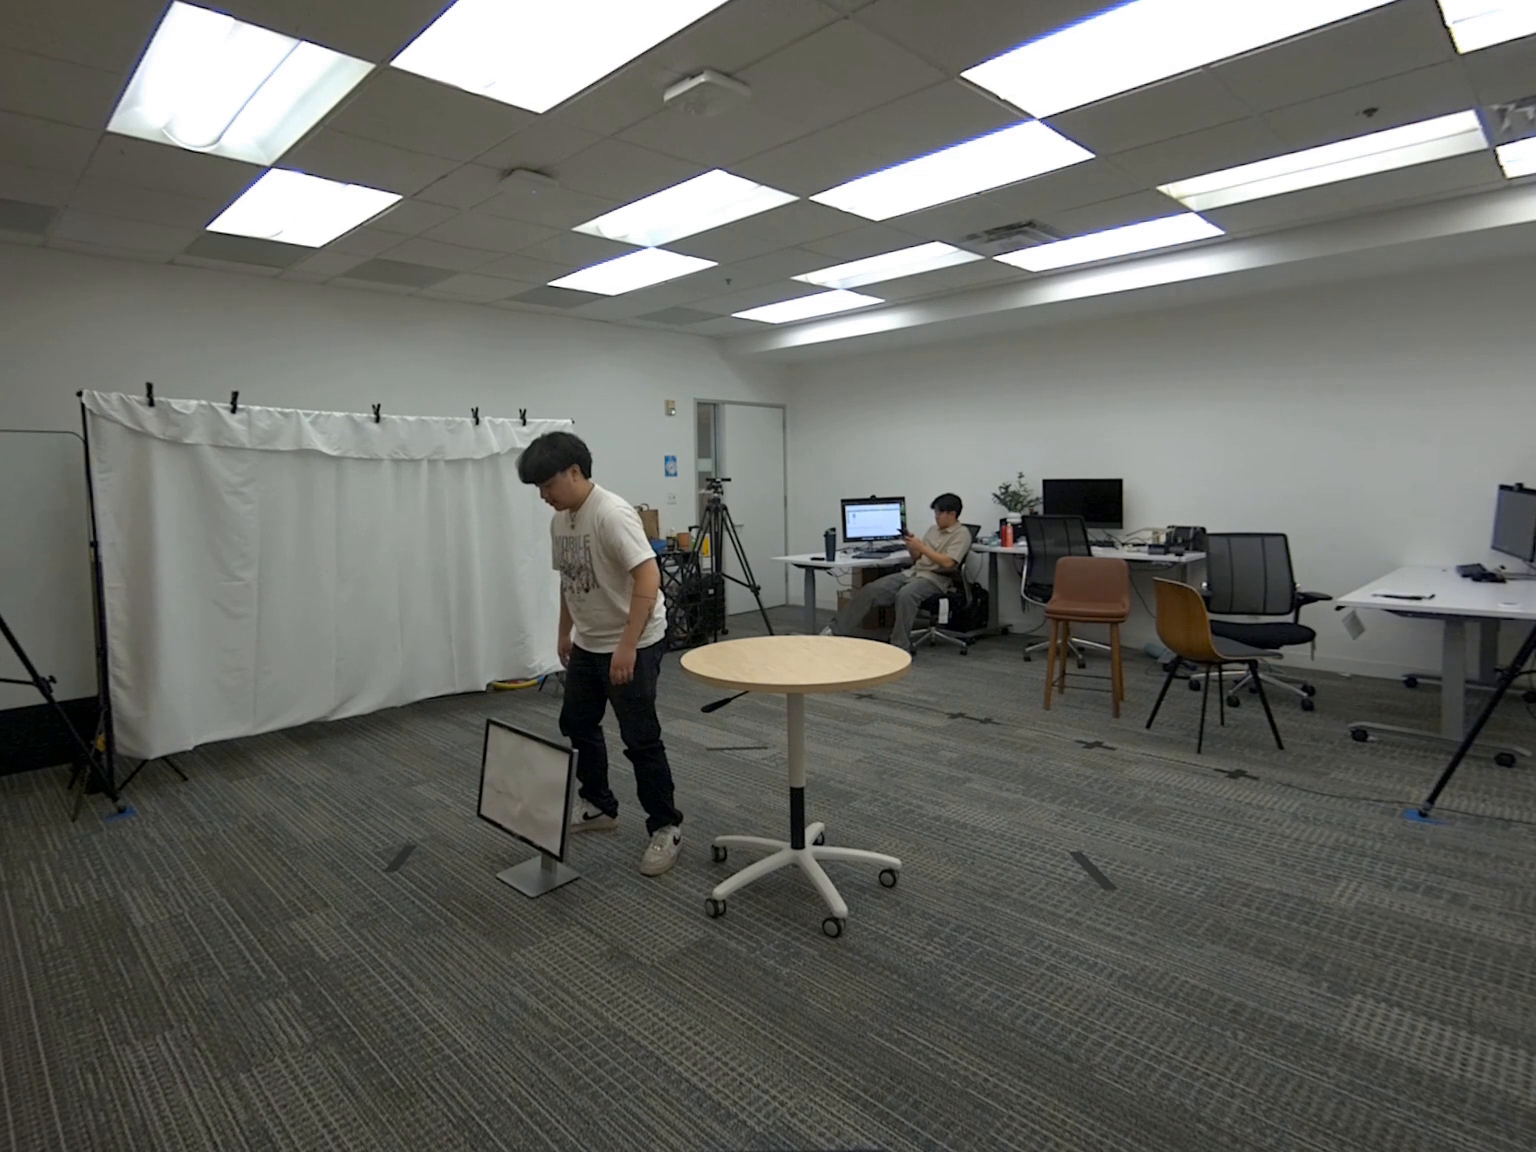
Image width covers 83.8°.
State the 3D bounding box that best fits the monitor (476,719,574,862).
[{"bbox_3d":[-0.801,0.813,3.016,0.204,0.553,0.583,-1,4,-45],"label":"monitor"}]
